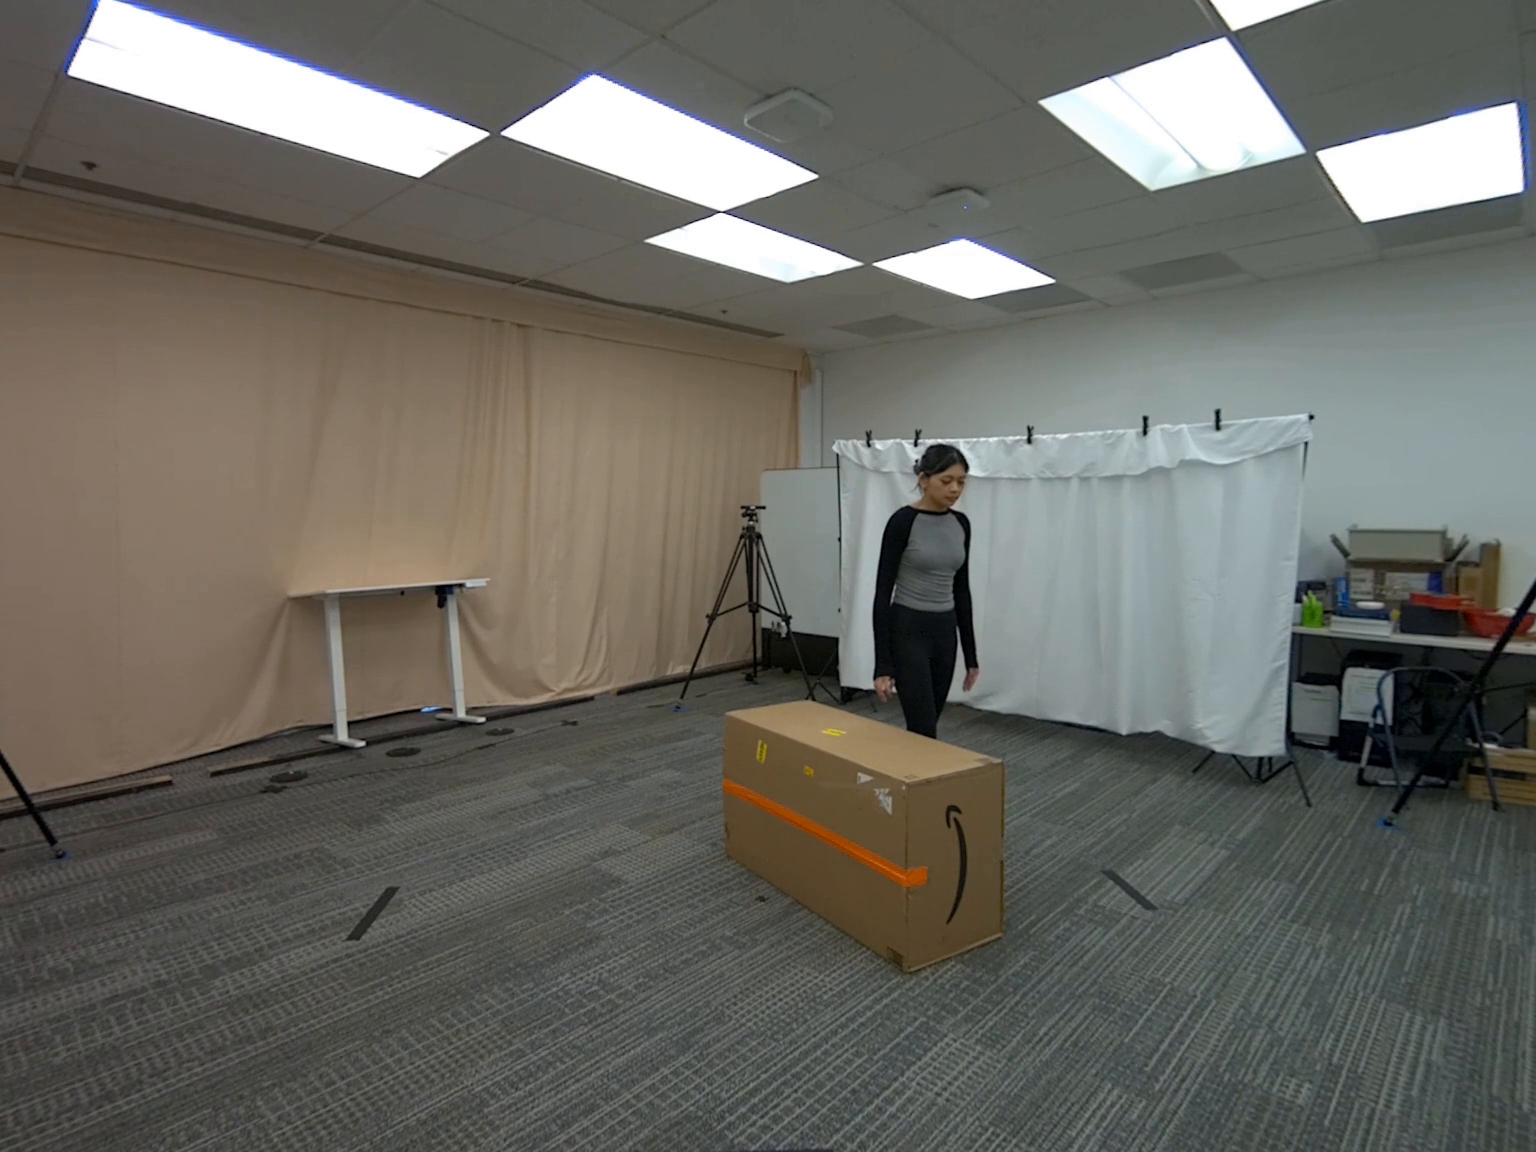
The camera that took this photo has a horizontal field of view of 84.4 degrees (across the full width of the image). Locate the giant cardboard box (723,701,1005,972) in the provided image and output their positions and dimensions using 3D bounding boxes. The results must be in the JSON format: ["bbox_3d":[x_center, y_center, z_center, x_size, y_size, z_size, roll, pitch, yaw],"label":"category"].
[{"bbox_3d":[0.291,0.852,3.022,0.414,0.576,1.057,-2,4,-33],"label":"giant cardboard box"}]
